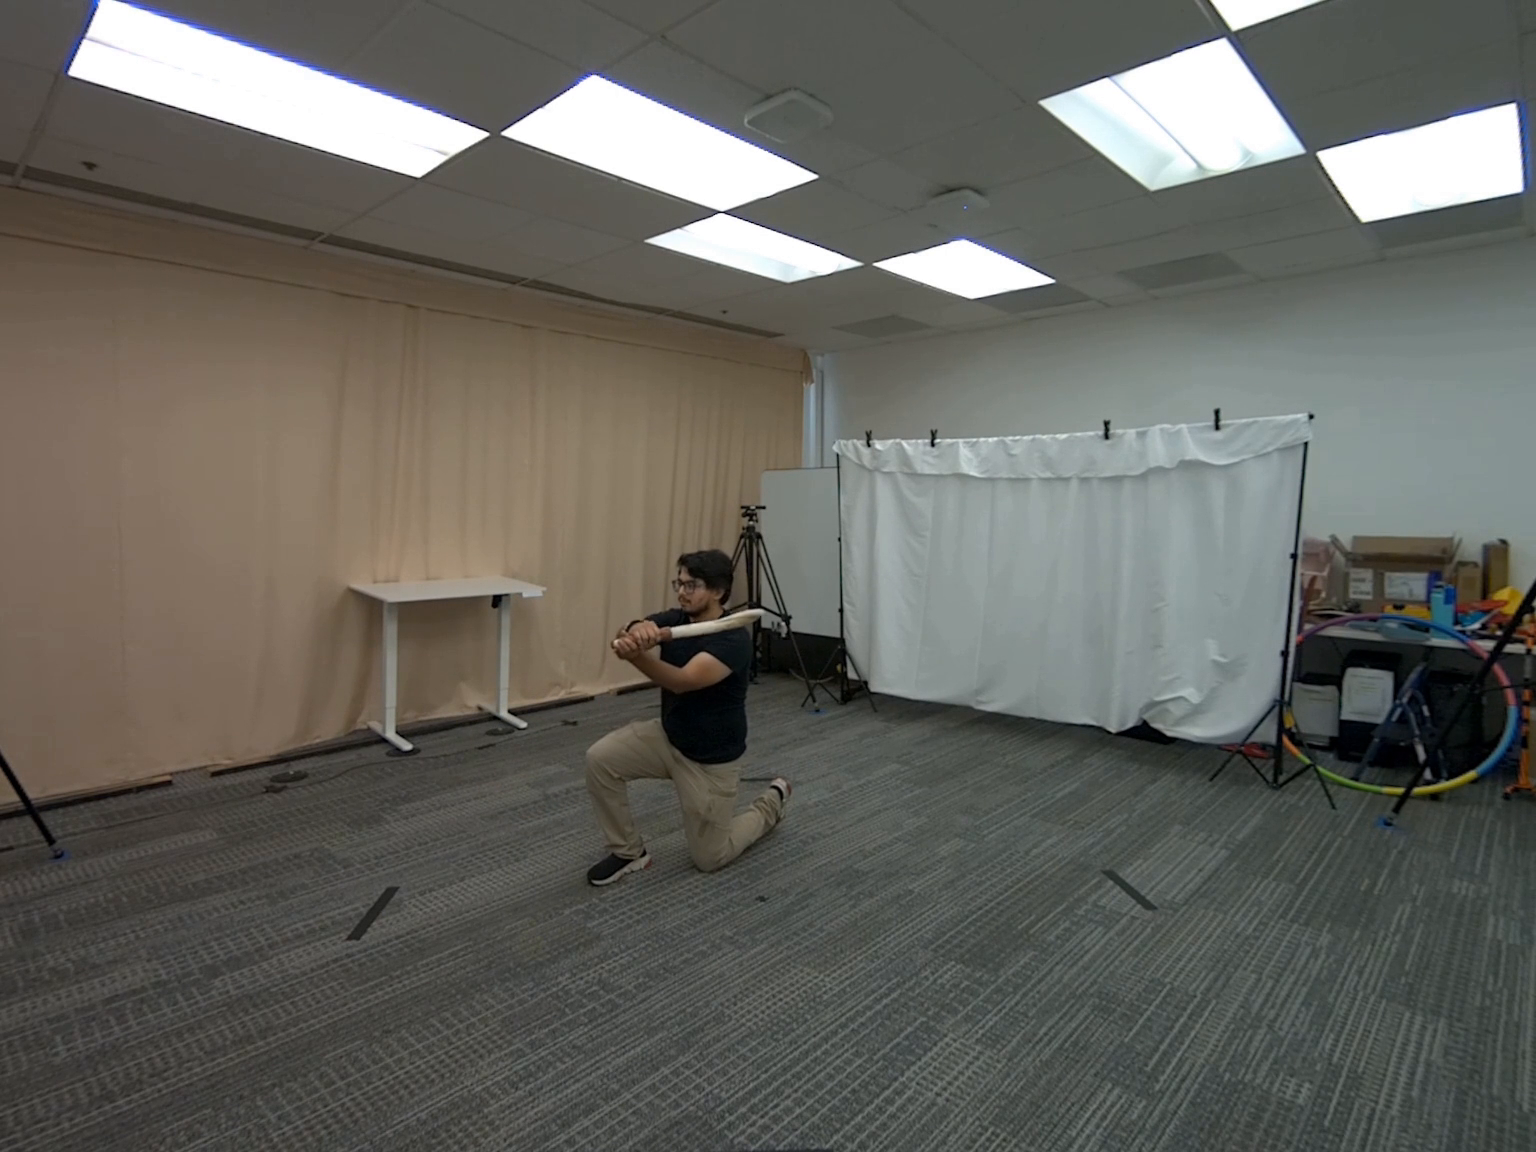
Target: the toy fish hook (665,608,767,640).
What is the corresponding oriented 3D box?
[{"bbox_3d":[-0.271,0.165,2.714,0.496,0.049,0.226,-10,-14,-24],"label":"toy fish hook"}]
